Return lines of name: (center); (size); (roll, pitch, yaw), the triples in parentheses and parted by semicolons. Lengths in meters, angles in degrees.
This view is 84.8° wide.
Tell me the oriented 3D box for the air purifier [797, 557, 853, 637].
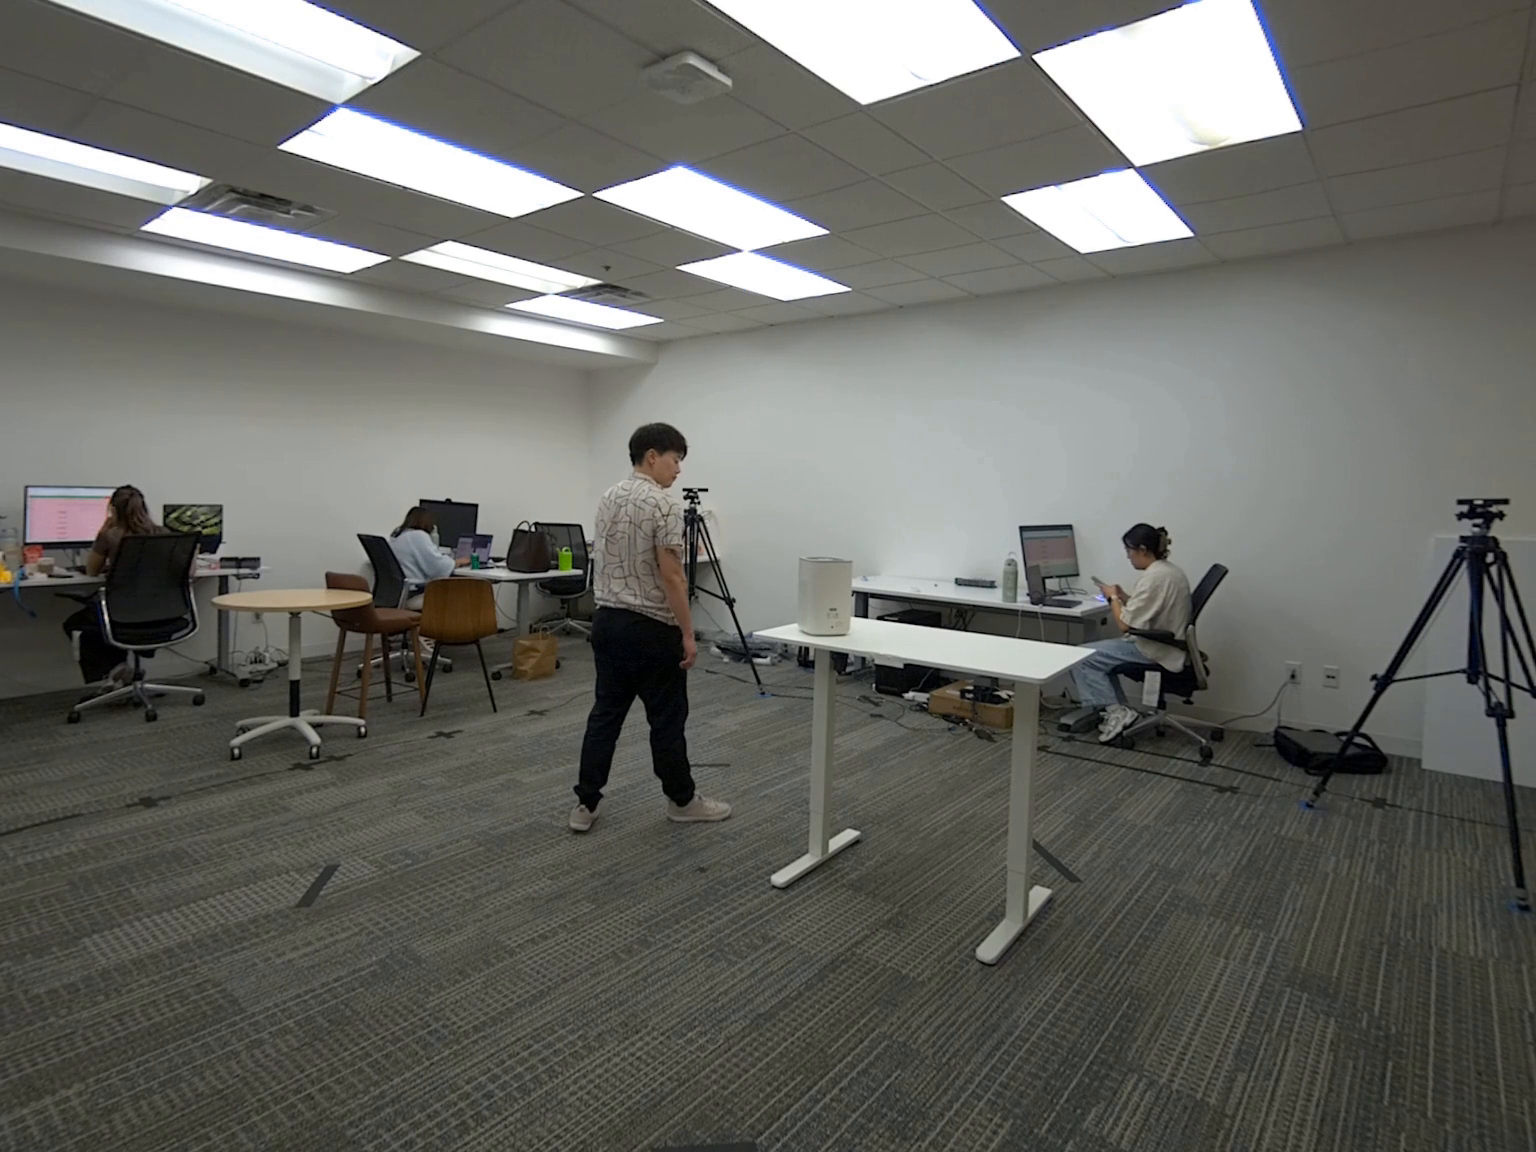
air purifier: (0.199, 0.067, 3.041); (0.169, 0.264, 0.174); (0, 4, -12)
